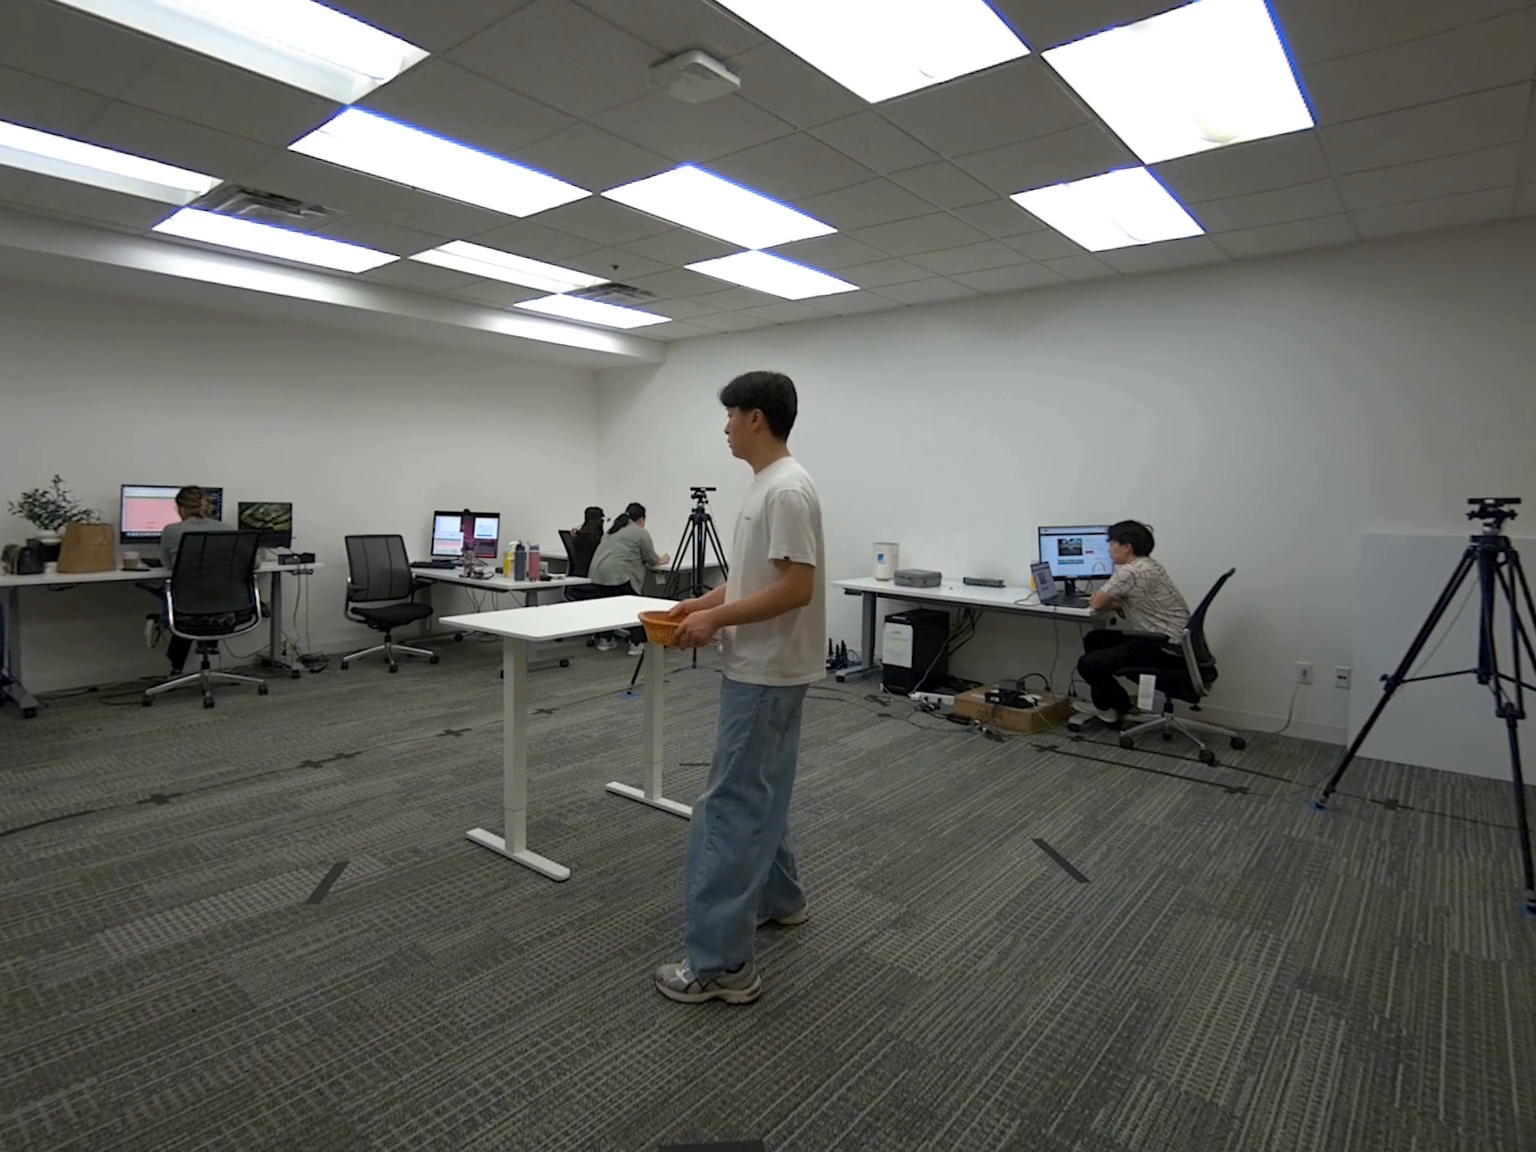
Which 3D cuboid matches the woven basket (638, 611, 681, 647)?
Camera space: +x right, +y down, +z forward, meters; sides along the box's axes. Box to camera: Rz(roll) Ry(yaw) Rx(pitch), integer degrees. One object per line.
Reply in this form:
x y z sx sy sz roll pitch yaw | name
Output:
-0.245 0.160 2.570 0.252 0.073 0.352 5 4 -3 | woven basket
